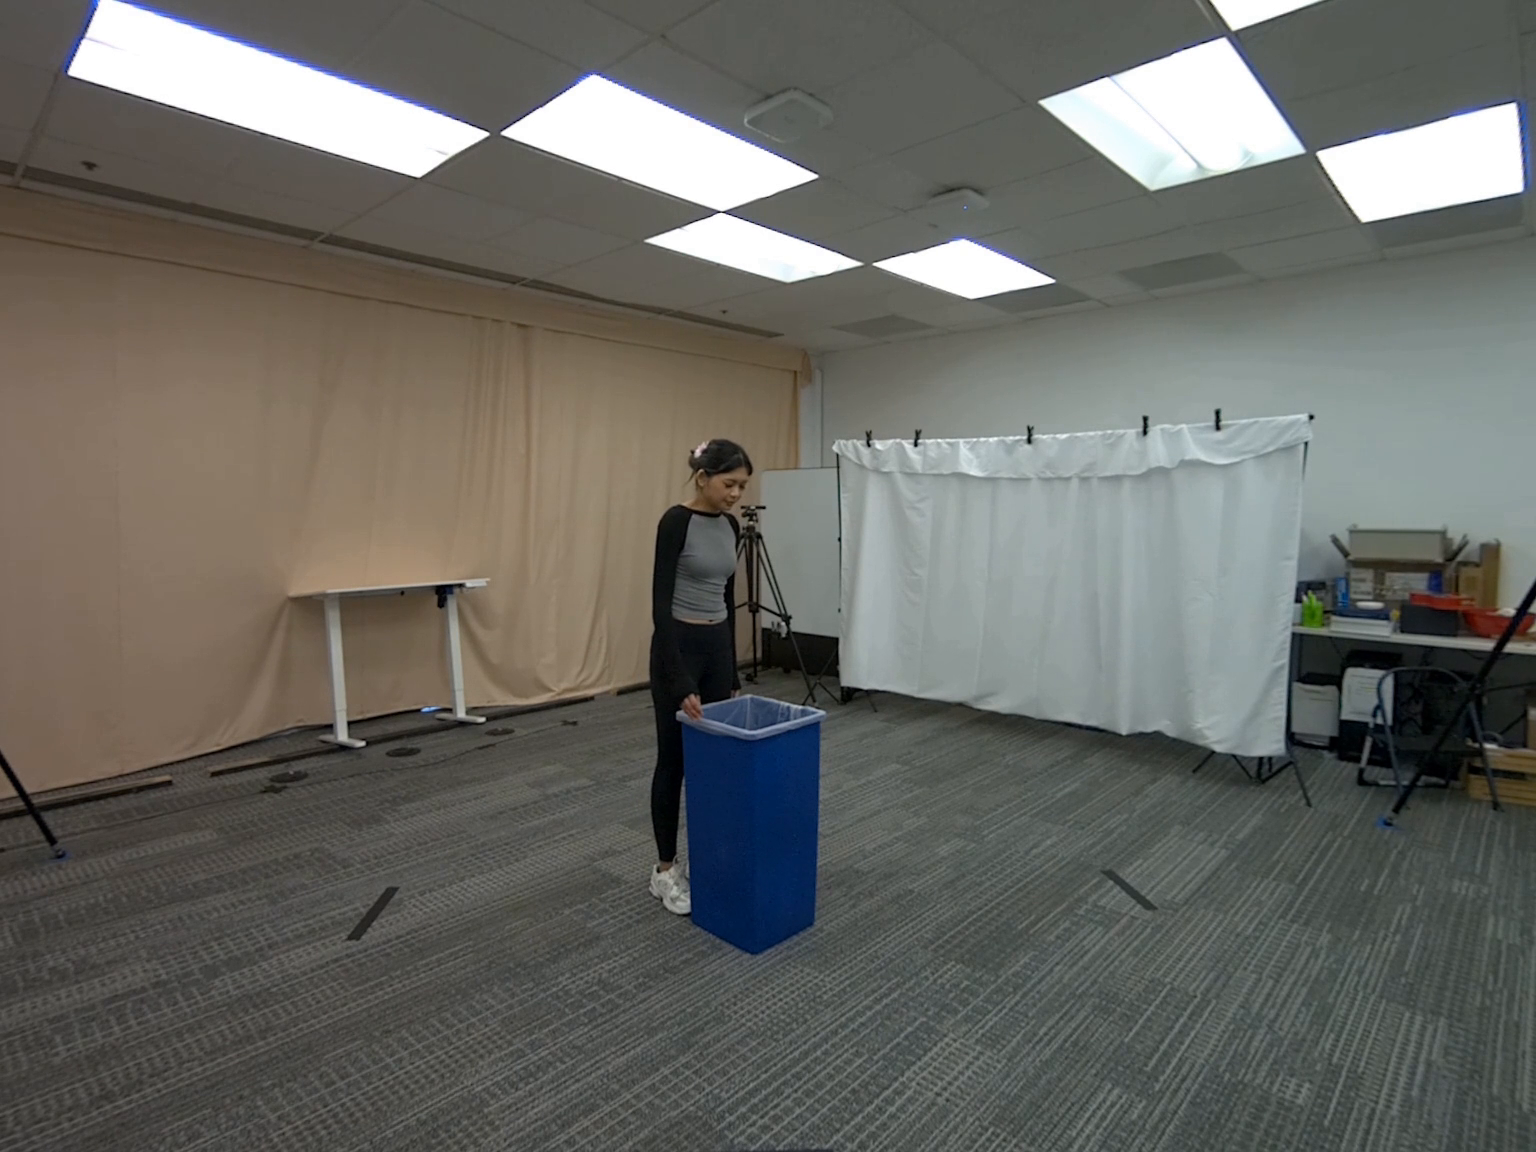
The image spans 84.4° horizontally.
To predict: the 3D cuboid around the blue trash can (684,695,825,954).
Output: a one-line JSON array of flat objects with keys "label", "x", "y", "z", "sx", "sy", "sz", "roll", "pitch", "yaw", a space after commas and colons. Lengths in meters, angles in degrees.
[{"label": "blue trash can", "x": -0.049, "y": 0.802, "z": 2.785, "sx": 0.391, "sy": 0.712, "sz": 0.362, "roll": 3, "pitch": 4, "yaw": 44}]
